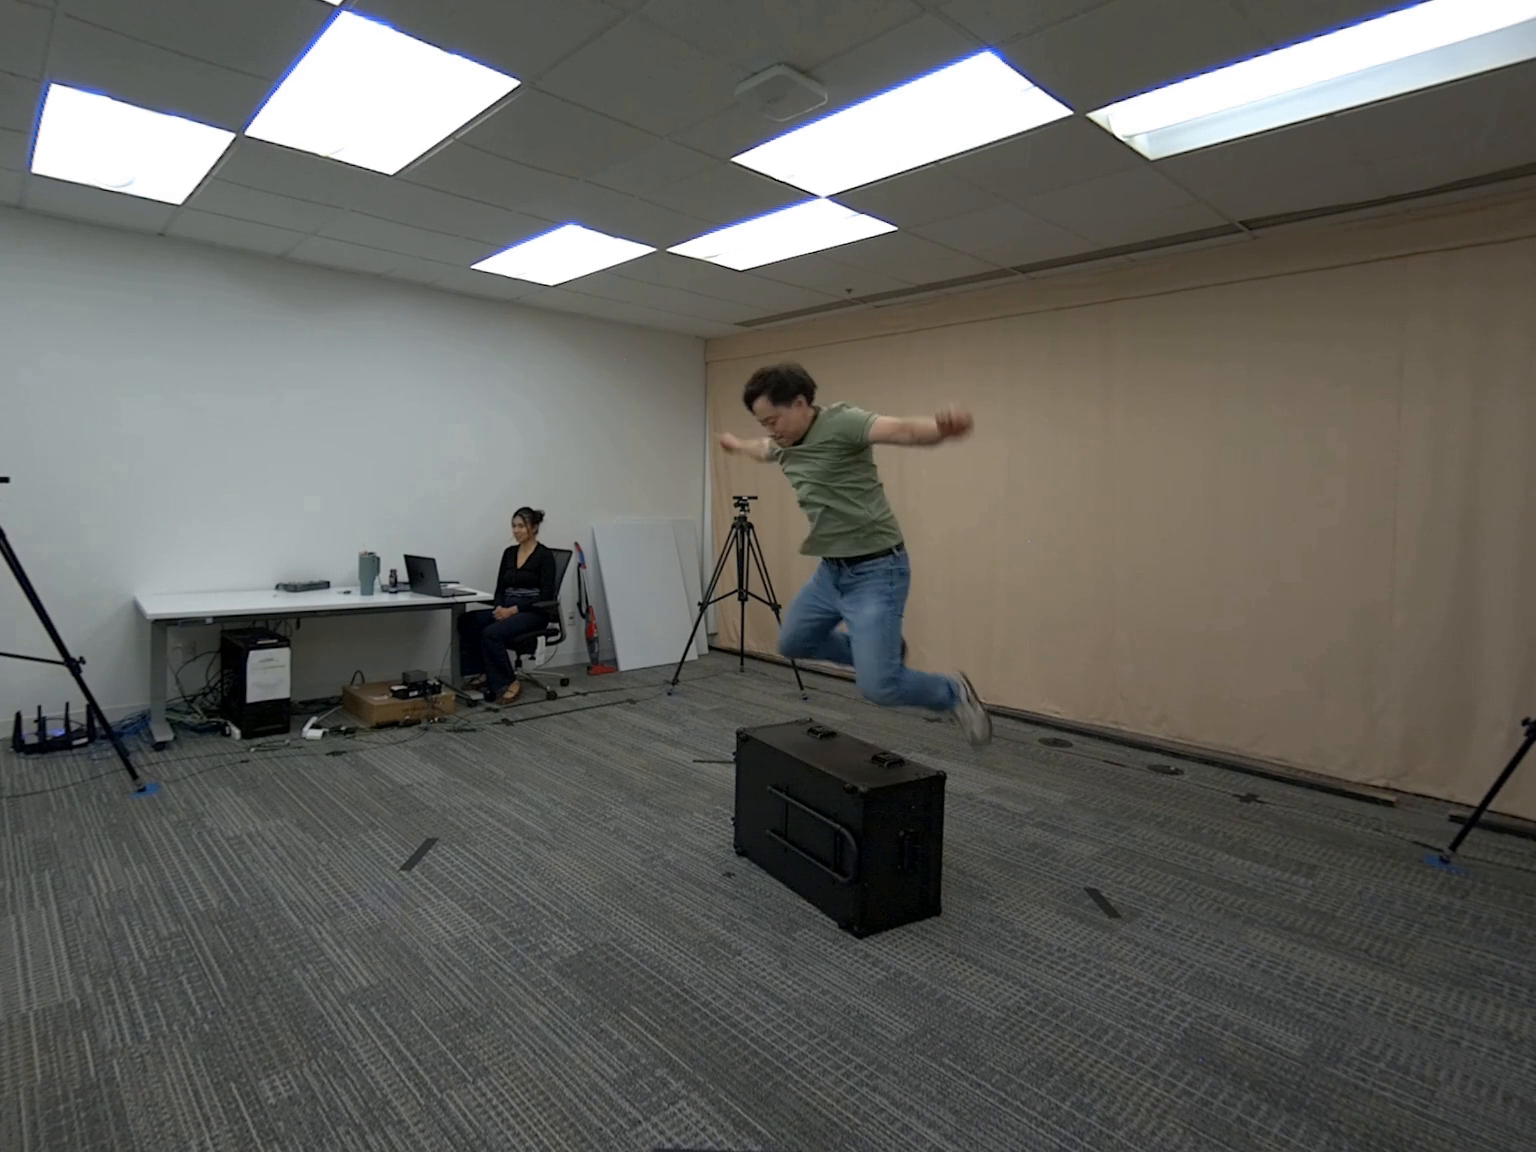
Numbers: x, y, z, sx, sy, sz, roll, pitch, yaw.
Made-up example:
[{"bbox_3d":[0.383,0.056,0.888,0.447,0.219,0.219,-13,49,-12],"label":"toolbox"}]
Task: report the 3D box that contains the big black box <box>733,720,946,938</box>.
[{"bbox_3d":[0.196,0.870,3.094,0.388,0.520,0.881,-1,5,-31],"label":"big black box"}]
